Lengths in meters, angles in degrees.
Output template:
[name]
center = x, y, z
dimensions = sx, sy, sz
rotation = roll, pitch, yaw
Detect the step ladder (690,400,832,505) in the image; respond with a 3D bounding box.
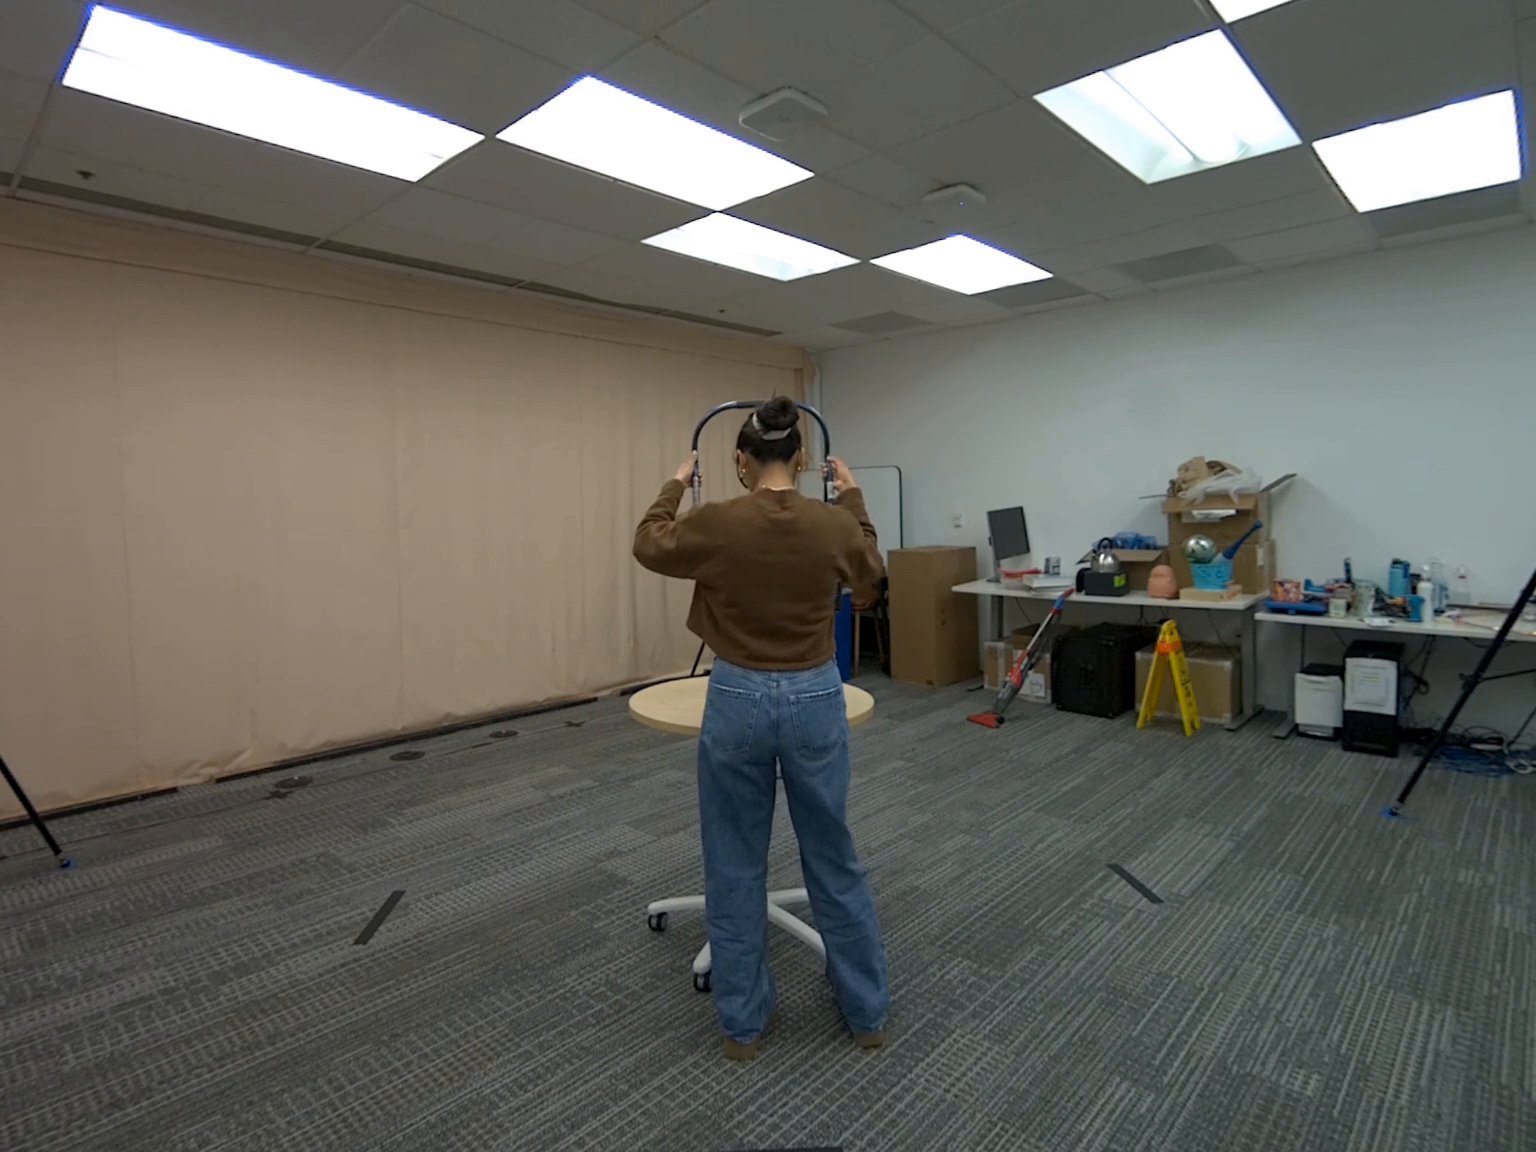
[step ladder]
center = -0.010, -0.215, 2.501
dimensions = 0.430, 0.602, 0.352
rotation = -3, 9, -3
